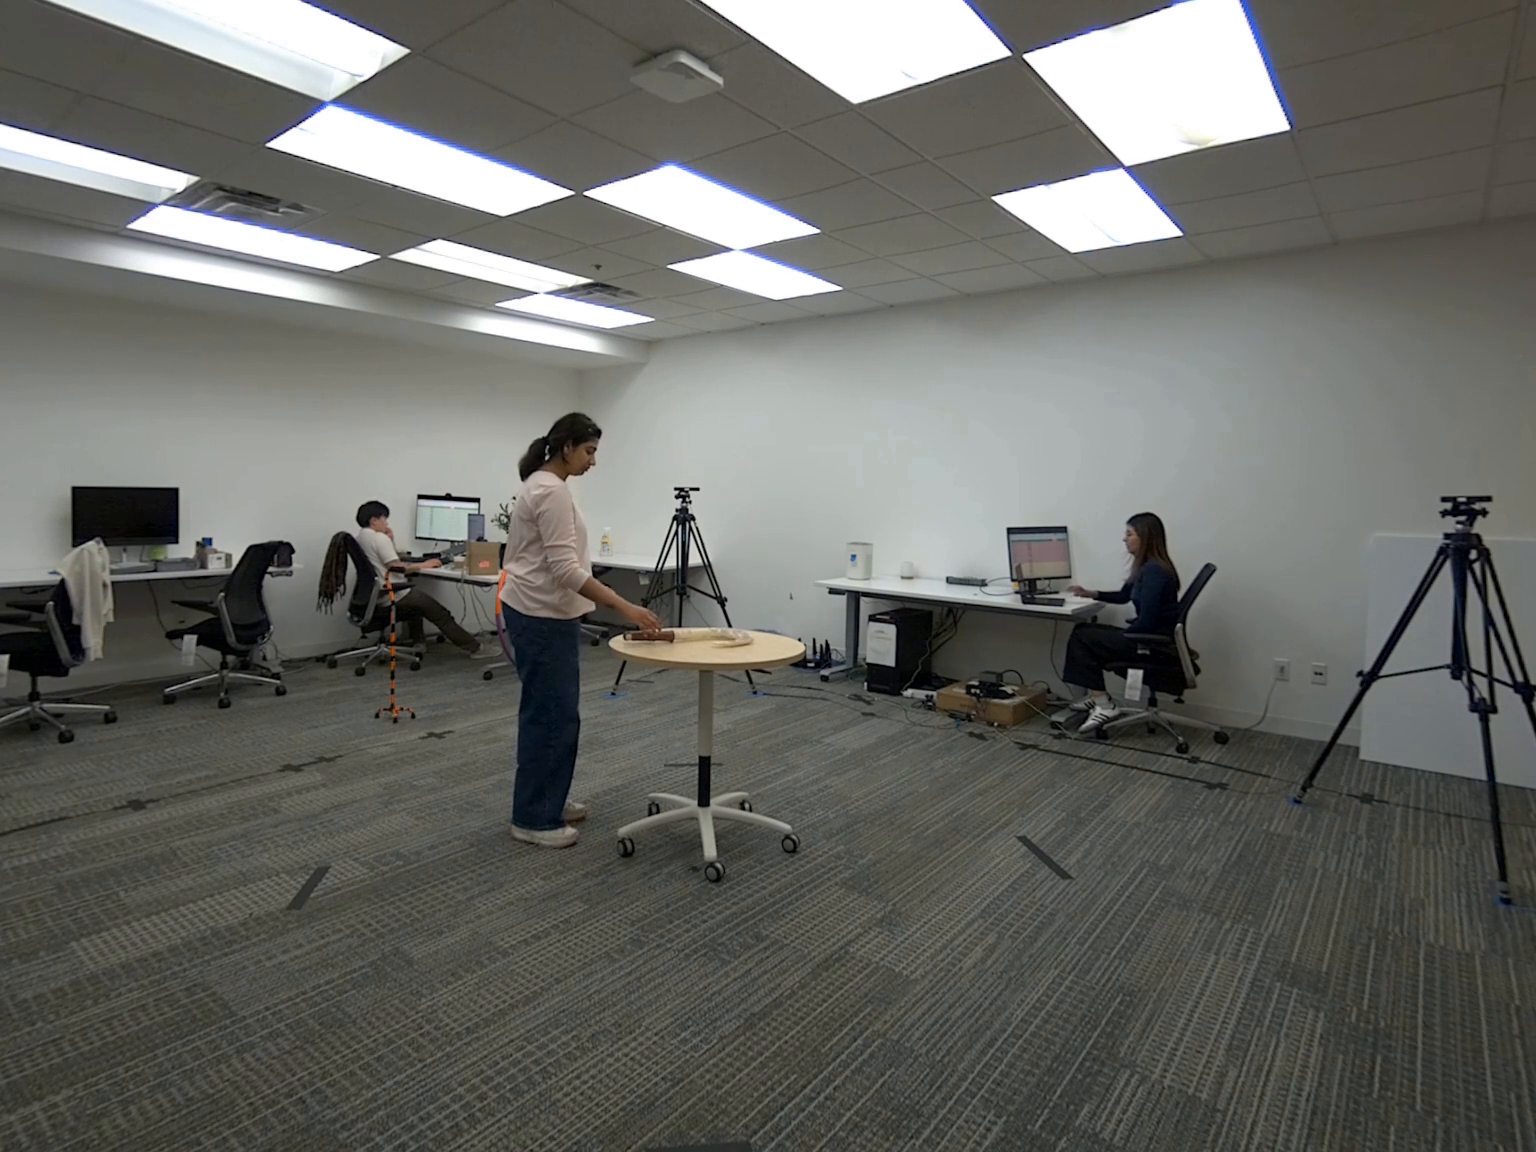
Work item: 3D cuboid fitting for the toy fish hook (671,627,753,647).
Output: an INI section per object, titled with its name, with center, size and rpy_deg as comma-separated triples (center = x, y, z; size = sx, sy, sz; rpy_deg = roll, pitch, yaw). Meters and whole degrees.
[toy fish hook]
center = -0.313, 0.242, 3.309
size = 0.497, 0.048, 0.230
rpy_deg = -1, 6, -19
